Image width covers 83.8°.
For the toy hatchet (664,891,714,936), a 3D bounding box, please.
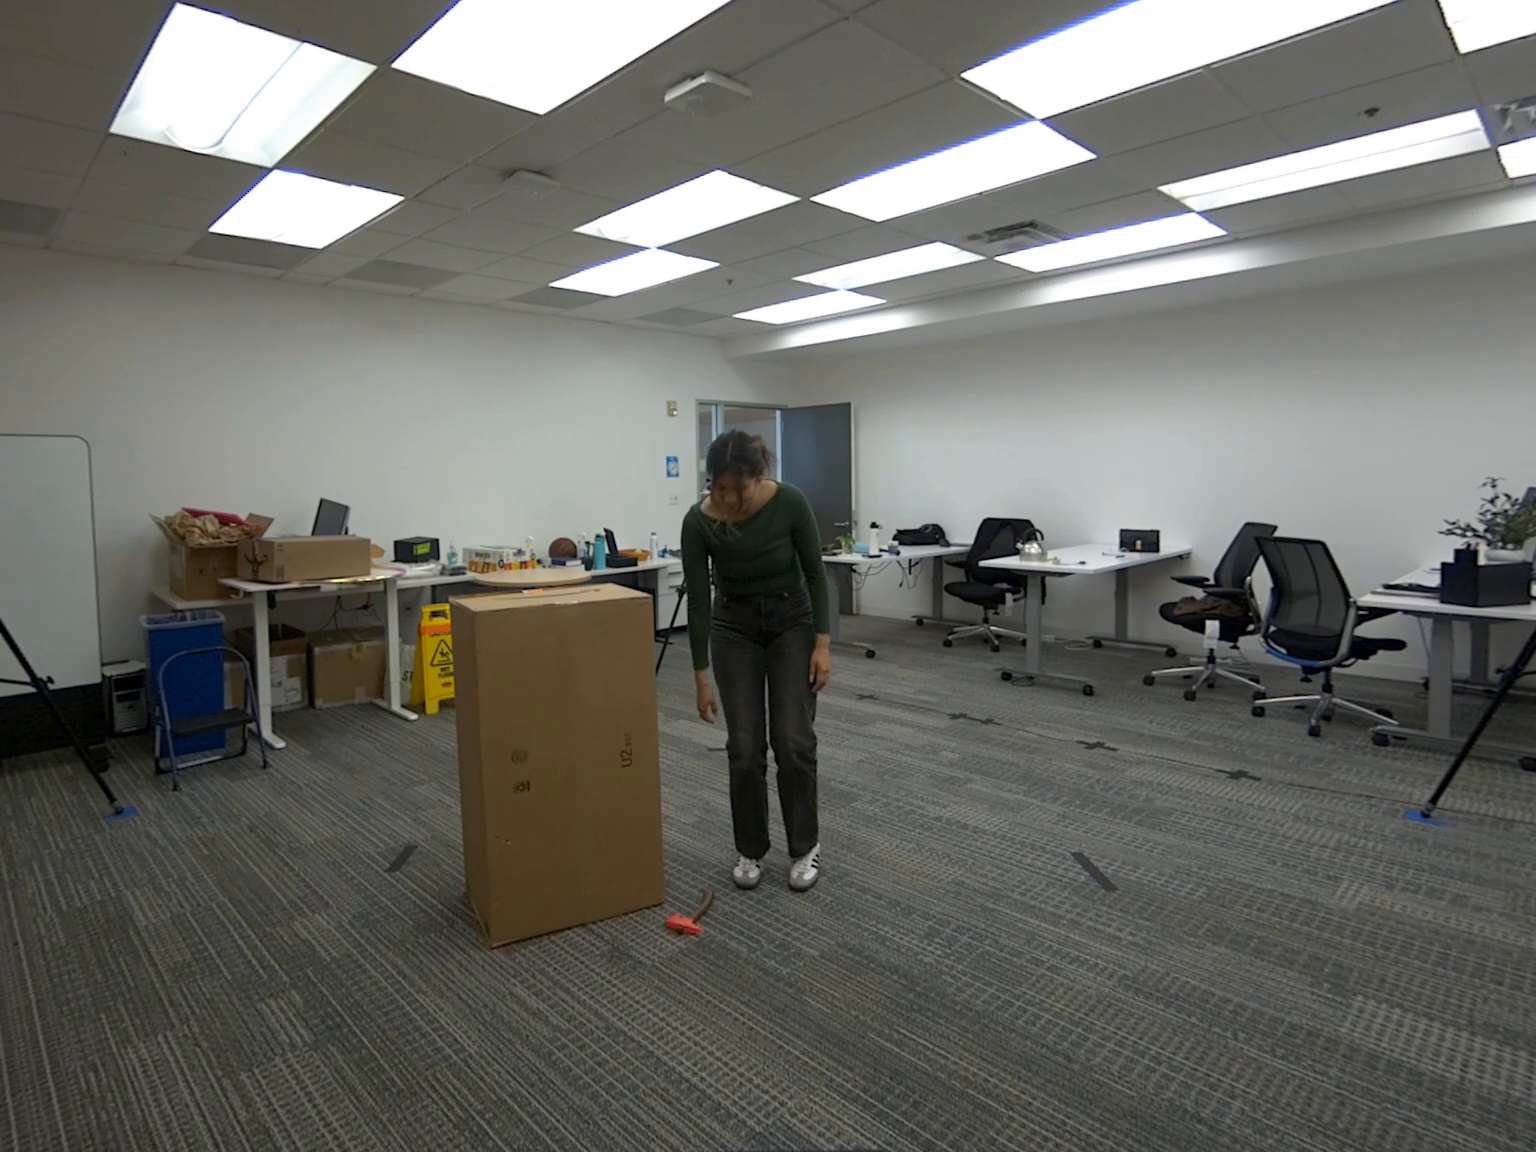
[{"bbox_3d":[-0.256,1.074,2.752,0.132,0.029,0.269,-2,4,6],"label":"toy hatchet"}]
